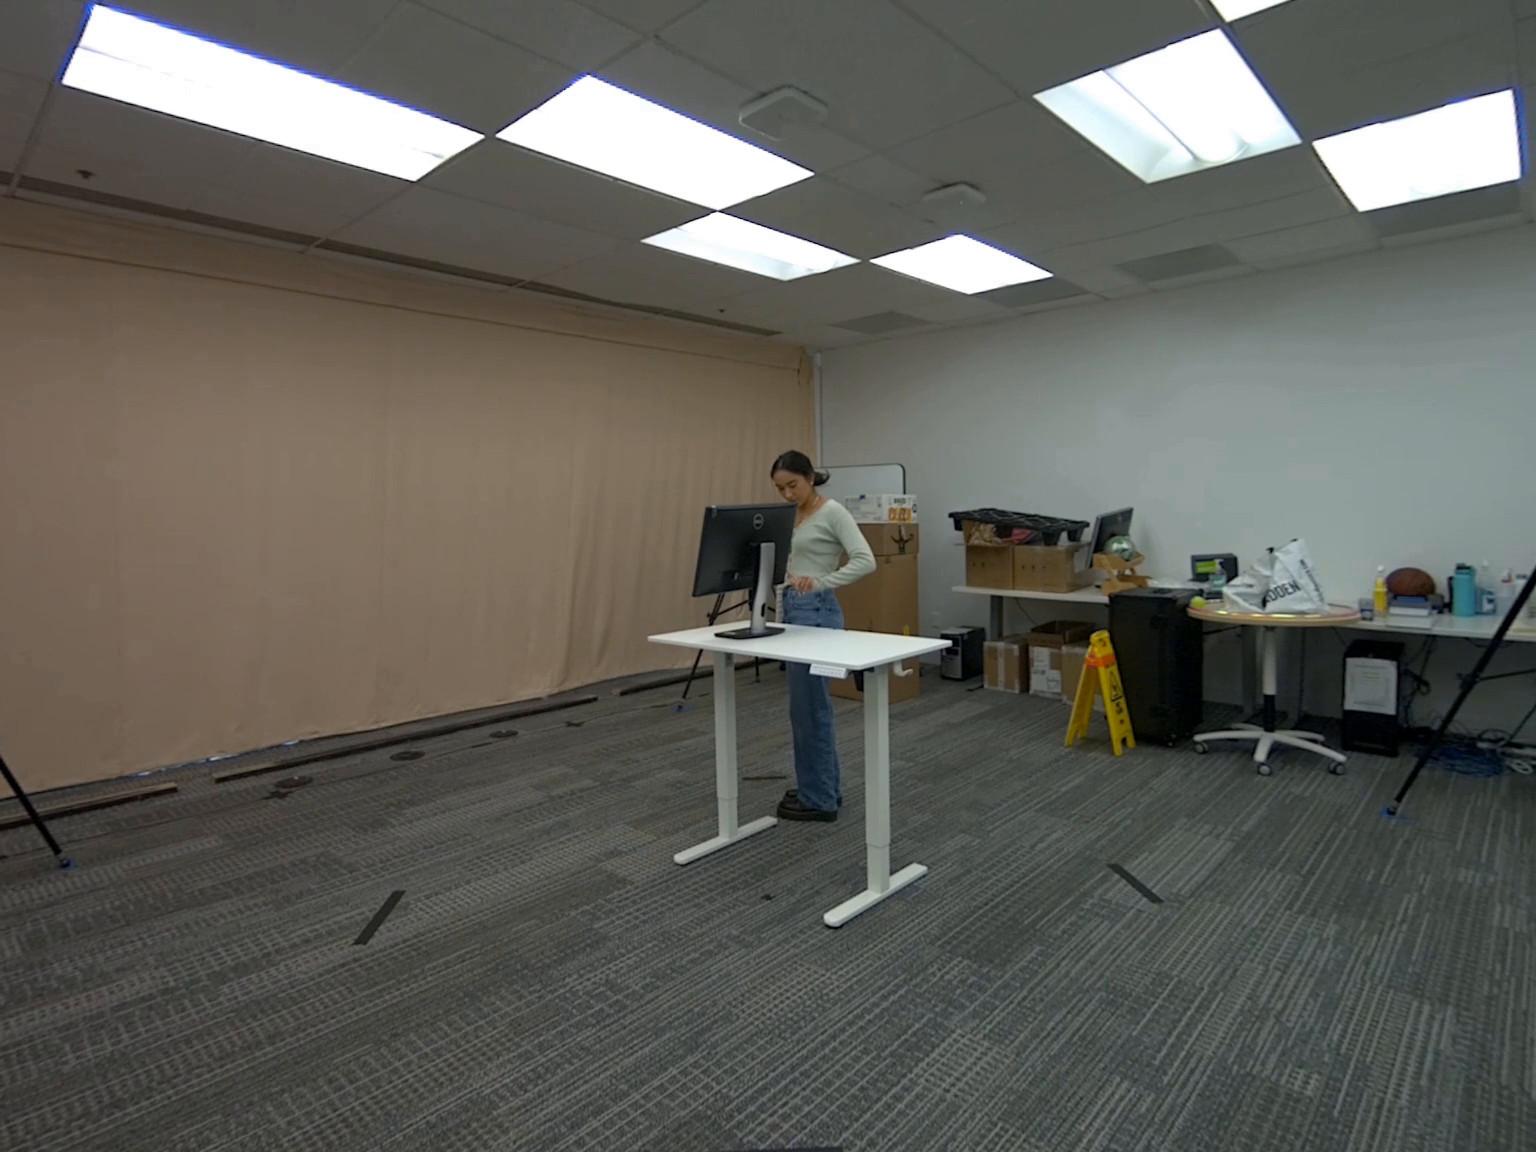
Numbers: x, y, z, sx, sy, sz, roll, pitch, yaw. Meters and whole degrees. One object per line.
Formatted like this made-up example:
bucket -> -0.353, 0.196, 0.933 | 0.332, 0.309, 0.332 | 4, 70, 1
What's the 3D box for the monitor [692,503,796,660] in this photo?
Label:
monitor -> -0.054, -0.017, 3.296 | 0.193, 0.521, 0.523 | 5, 8, 42
